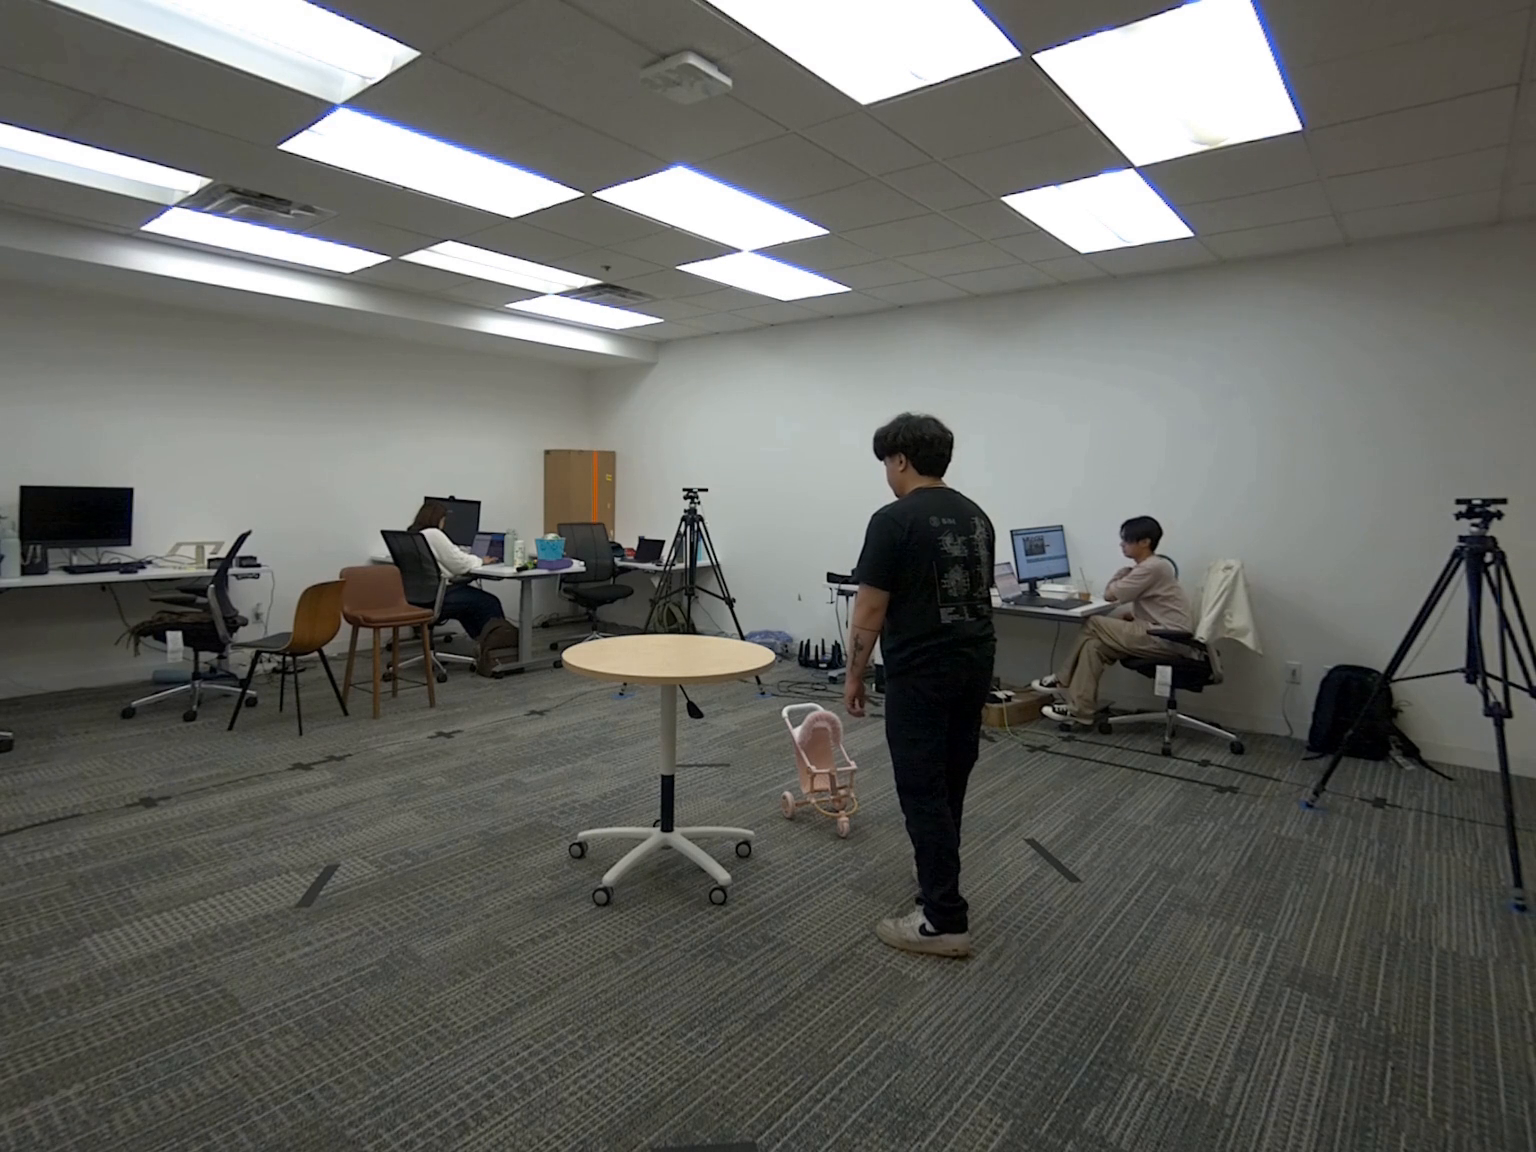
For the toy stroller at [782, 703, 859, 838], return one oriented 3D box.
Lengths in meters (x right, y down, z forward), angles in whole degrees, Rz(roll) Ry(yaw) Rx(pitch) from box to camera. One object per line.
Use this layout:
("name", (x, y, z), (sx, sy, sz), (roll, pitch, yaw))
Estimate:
("toy stroller", (0.221, 0.807, 3.599), (0.276, 0.541, 0.344), (0, -11, -20))
